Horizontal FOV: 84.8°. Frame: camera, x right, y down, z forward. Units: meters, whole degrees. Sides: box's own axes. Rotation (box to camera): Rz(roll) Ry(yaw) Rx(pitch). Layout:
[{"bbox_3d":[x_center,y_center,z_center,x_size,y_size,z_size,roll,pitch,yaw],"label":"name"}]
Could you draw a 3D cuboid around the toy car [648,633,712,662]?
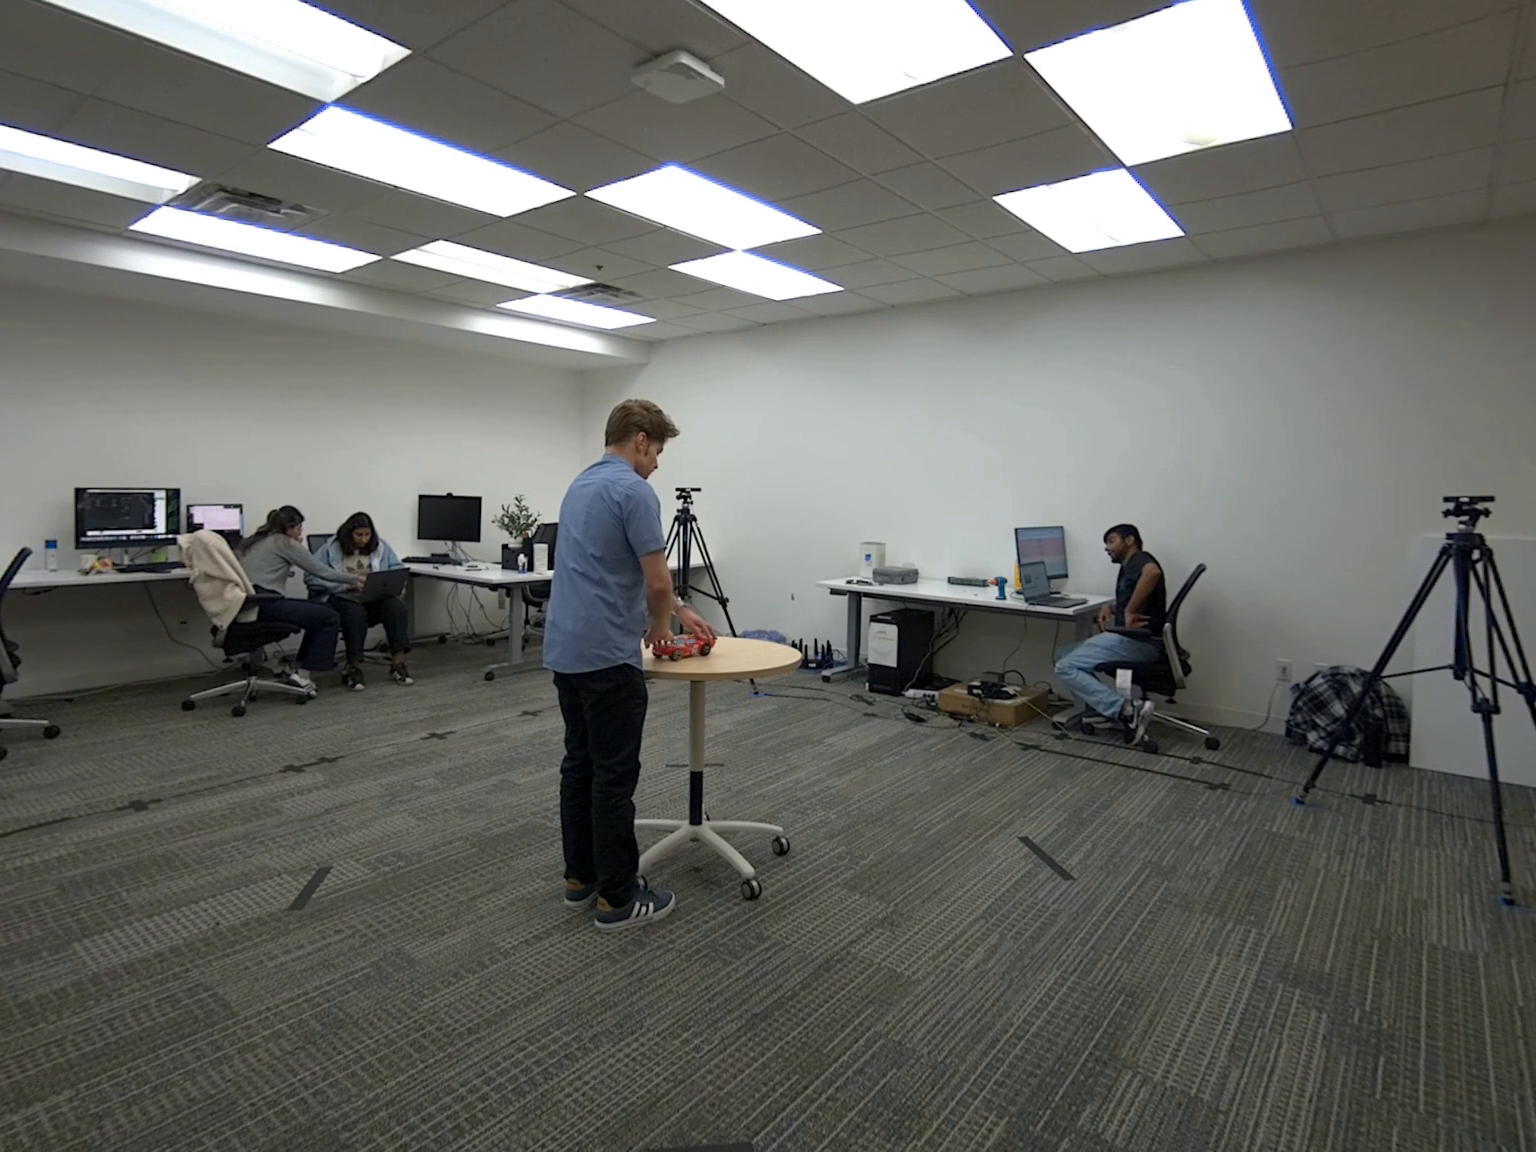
[{"bbox_3d":[-0.300,0.256,3.076,0.135,0.082,0.249,5,18,42],"label":"toy car"}]
